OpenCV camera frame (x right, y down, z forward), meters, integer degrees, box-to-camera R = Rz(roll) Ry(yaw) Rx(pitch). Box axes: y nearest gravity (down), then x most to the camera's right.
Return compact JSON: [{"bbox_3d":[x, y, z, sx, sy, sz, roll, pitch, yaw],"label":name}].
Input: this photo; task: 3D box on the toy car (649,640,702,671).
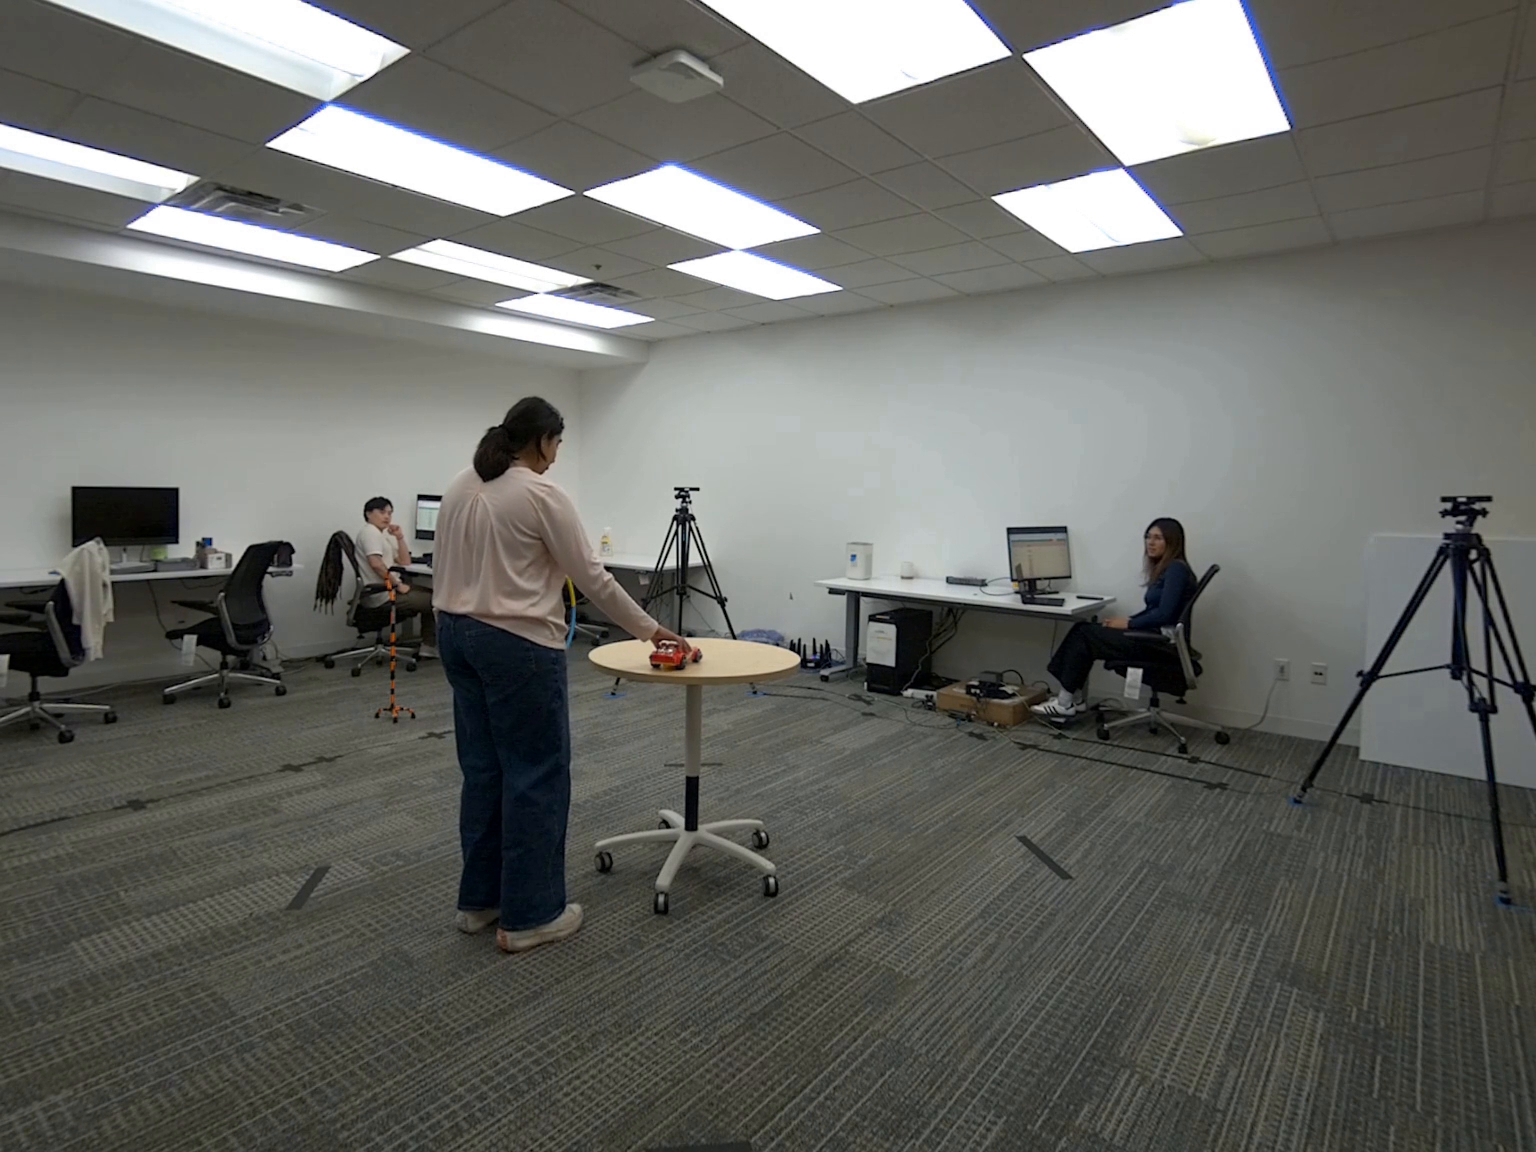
[{"bbox_3d":[-0.326,0.272,2.880,0.133,0.084,0.248,3,-6,16],"label":"toy car"}]
